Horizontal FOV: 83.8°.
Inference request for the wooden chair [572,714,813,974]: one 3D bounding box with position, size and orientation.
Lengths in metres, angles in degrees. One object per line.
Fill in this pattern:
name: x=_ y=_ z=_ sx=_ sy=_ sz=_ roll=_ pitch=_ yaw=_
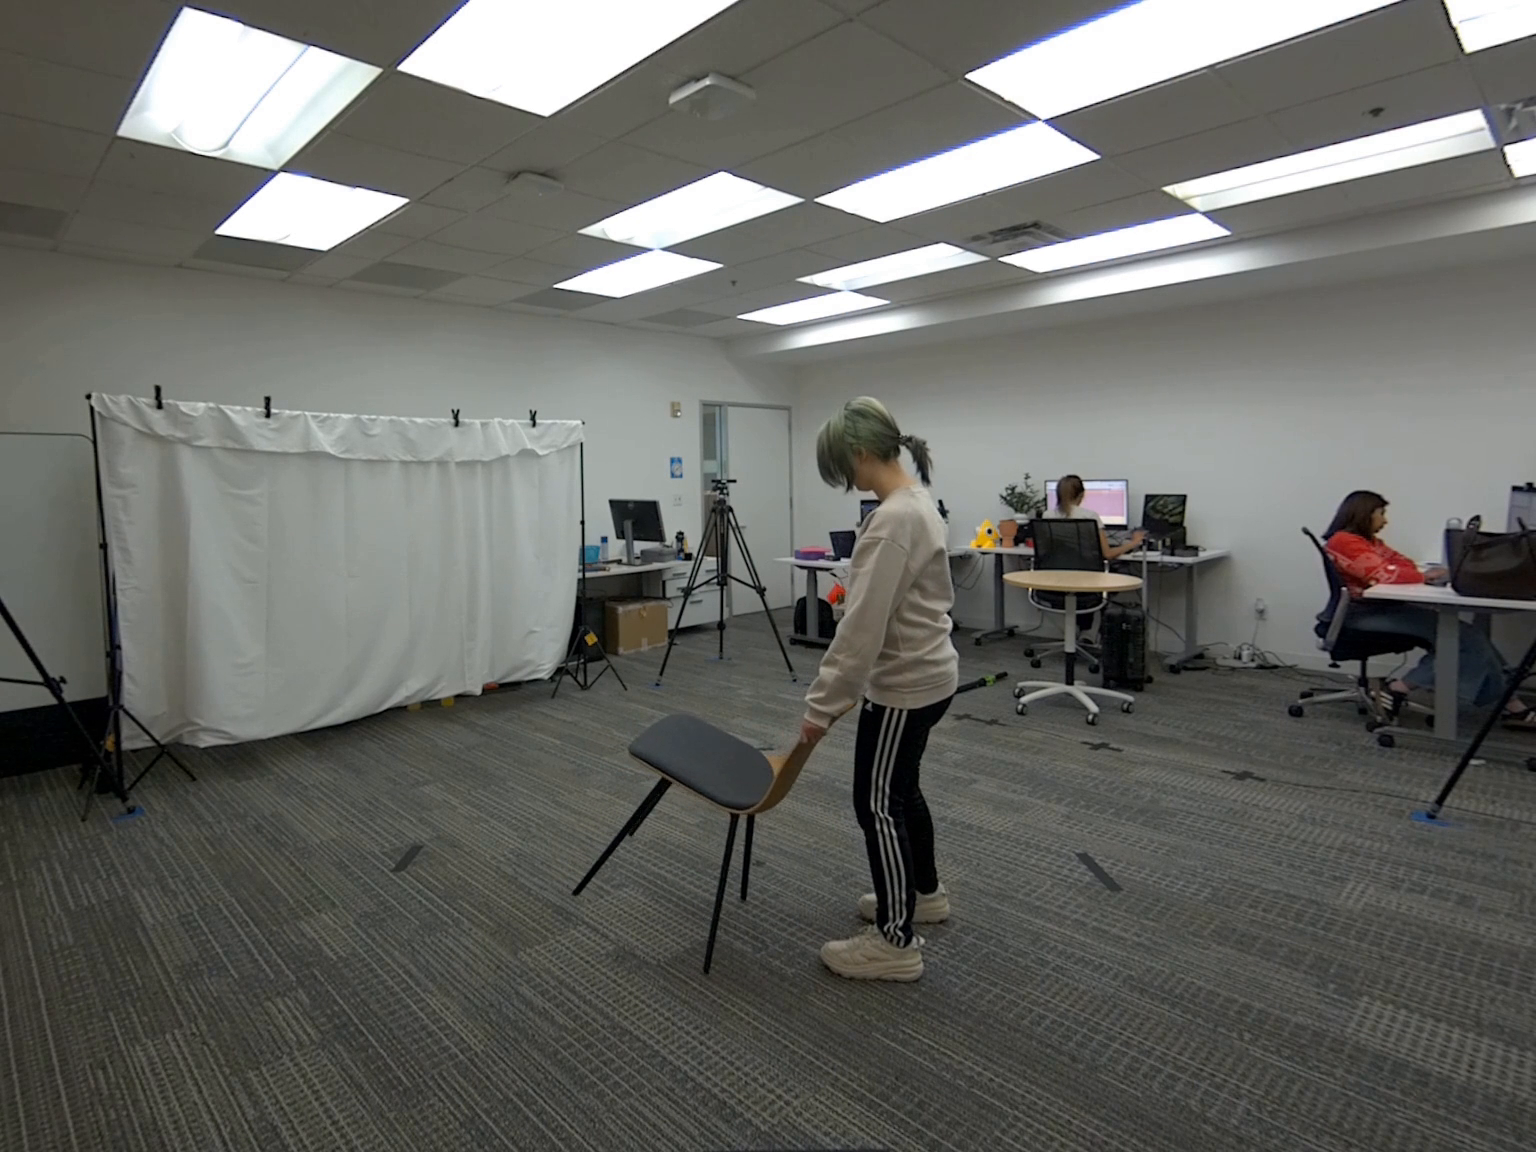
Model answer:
wooden chair: x=-0.159 y=0.626 z=2.604 sx=0.531 sy=0.873 sz=0.473 roll=30 pitch=11 yaw=11
